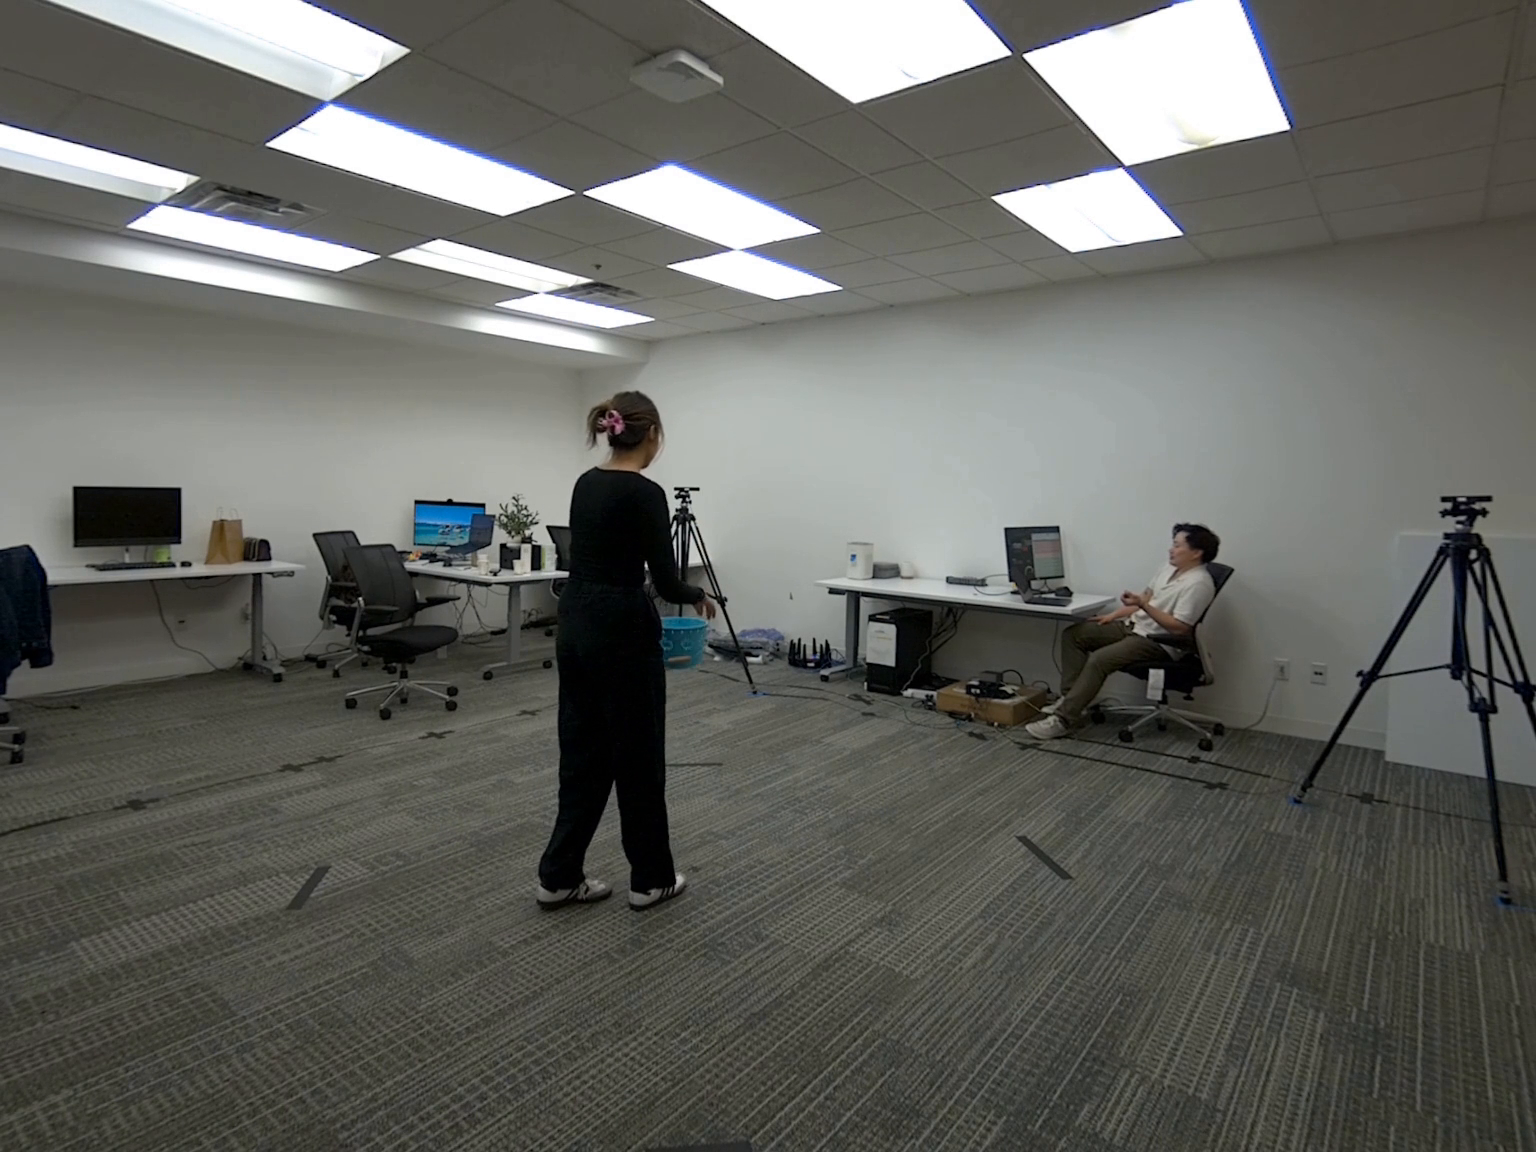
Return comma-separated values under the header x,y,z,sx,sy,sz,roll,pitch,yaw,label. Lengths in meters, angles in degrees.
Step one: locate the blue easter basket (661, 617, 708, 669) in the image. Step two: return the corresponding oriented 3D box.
x,y,z,sx,sy,sz,roll,pitch,yaw,label
-0.349,0.243,3.109,0.243,0.155,0.245,0,7,-2,blue easter basket
